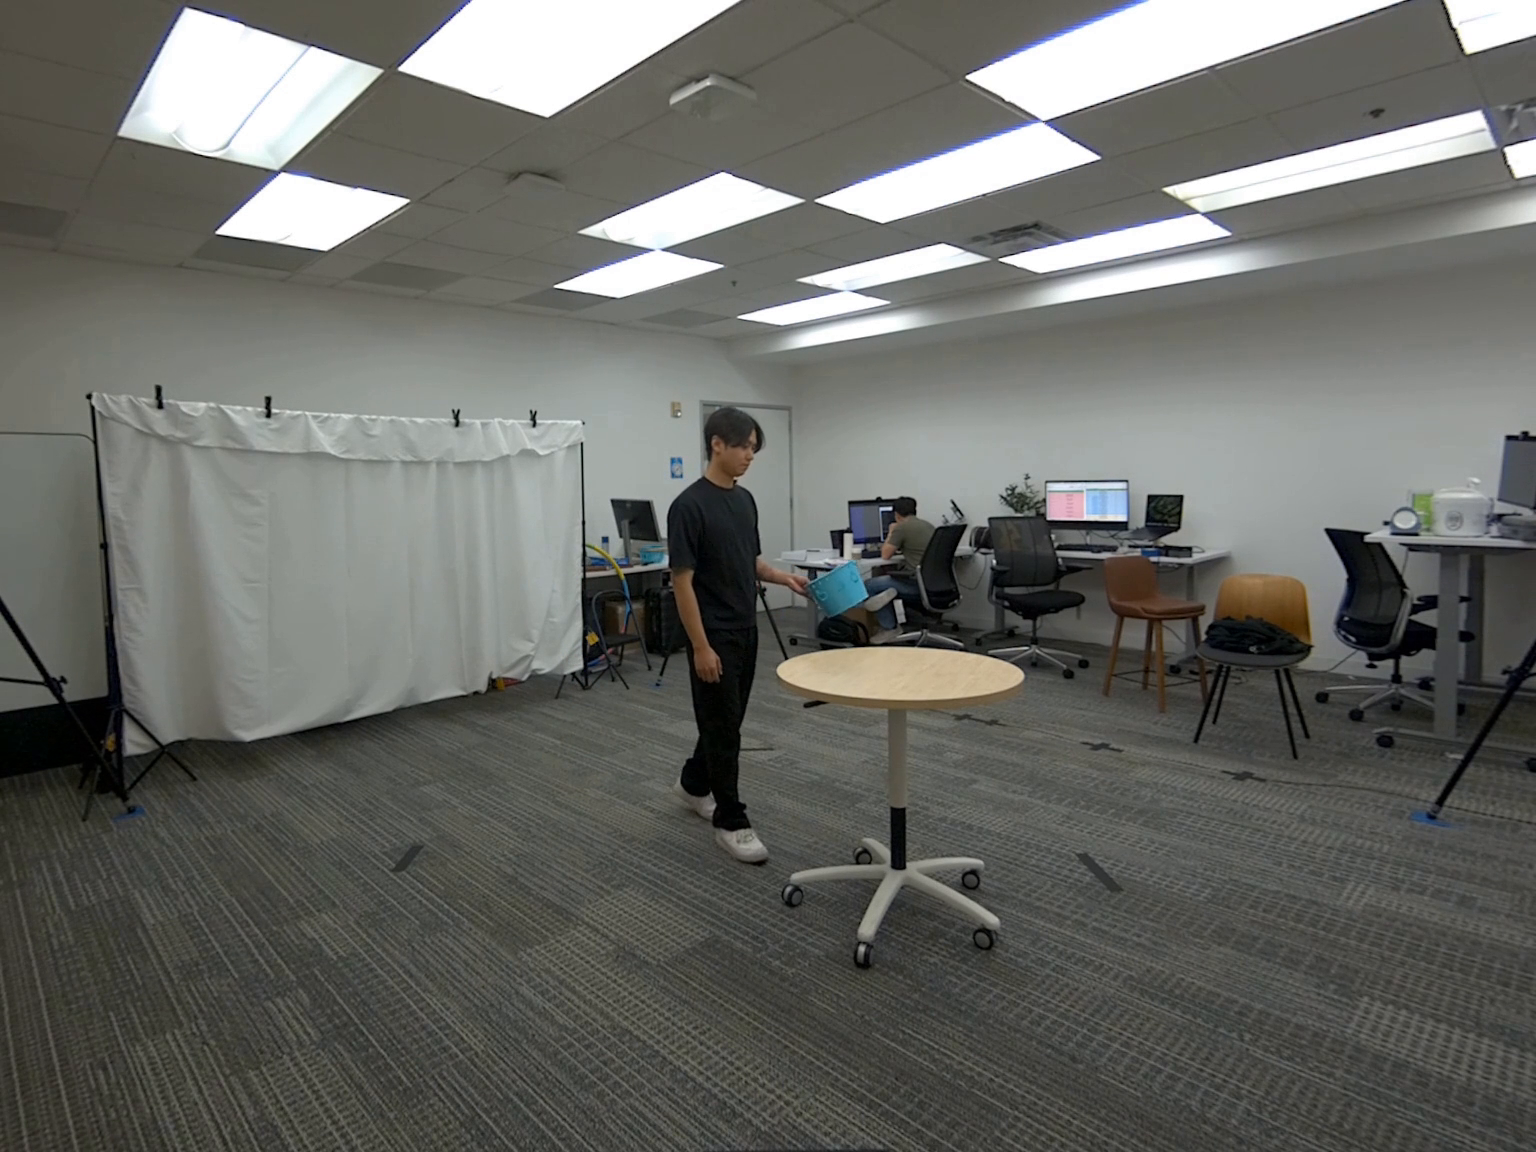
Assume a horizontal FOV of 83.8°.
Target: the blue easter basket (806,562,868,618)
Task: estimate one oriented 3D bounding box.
[{"bbox_3d":[0.274,0.052,3.326,0.243,0.157,0.243,-29,-2,-4],"label":"blue easter basket"}]
